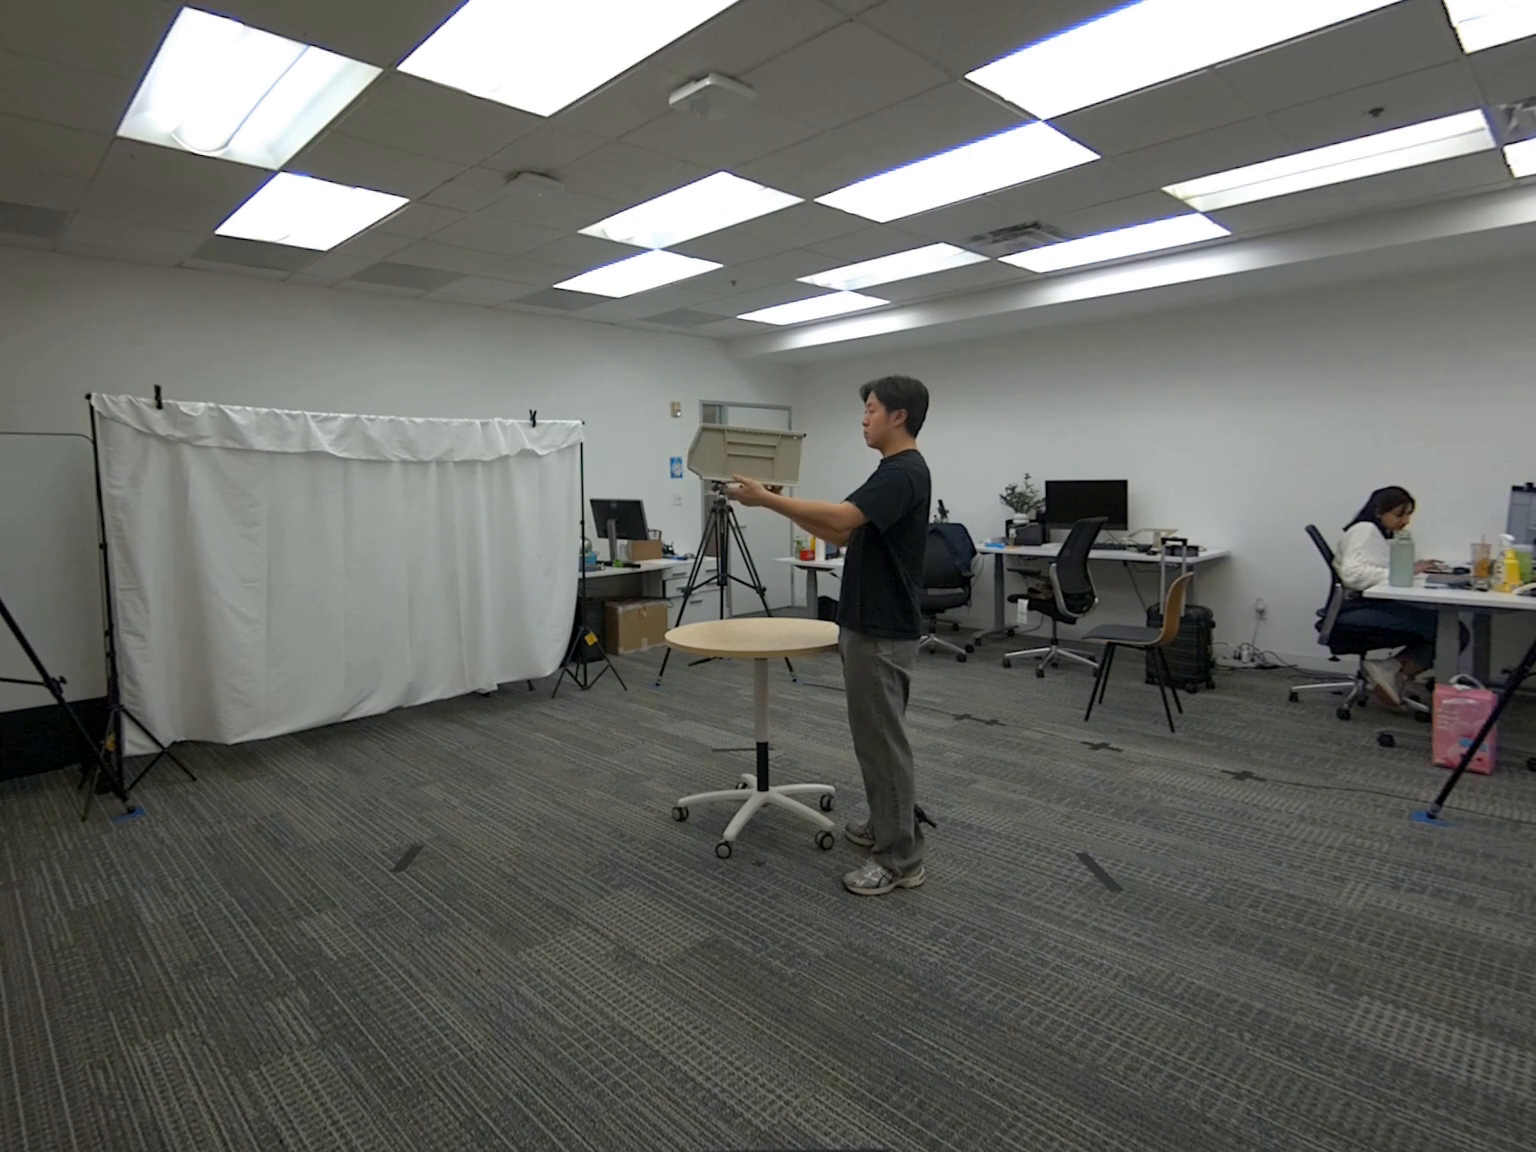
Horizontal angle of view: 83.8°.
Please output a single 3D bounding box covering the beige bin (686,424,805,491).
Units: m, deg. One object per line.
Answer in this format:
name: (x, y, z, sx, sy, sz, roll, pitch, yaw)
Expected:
beige bin: (-0.083, -0.408, 2.955, 0.376, 0.188, 0.426, 6, 7, -4)
